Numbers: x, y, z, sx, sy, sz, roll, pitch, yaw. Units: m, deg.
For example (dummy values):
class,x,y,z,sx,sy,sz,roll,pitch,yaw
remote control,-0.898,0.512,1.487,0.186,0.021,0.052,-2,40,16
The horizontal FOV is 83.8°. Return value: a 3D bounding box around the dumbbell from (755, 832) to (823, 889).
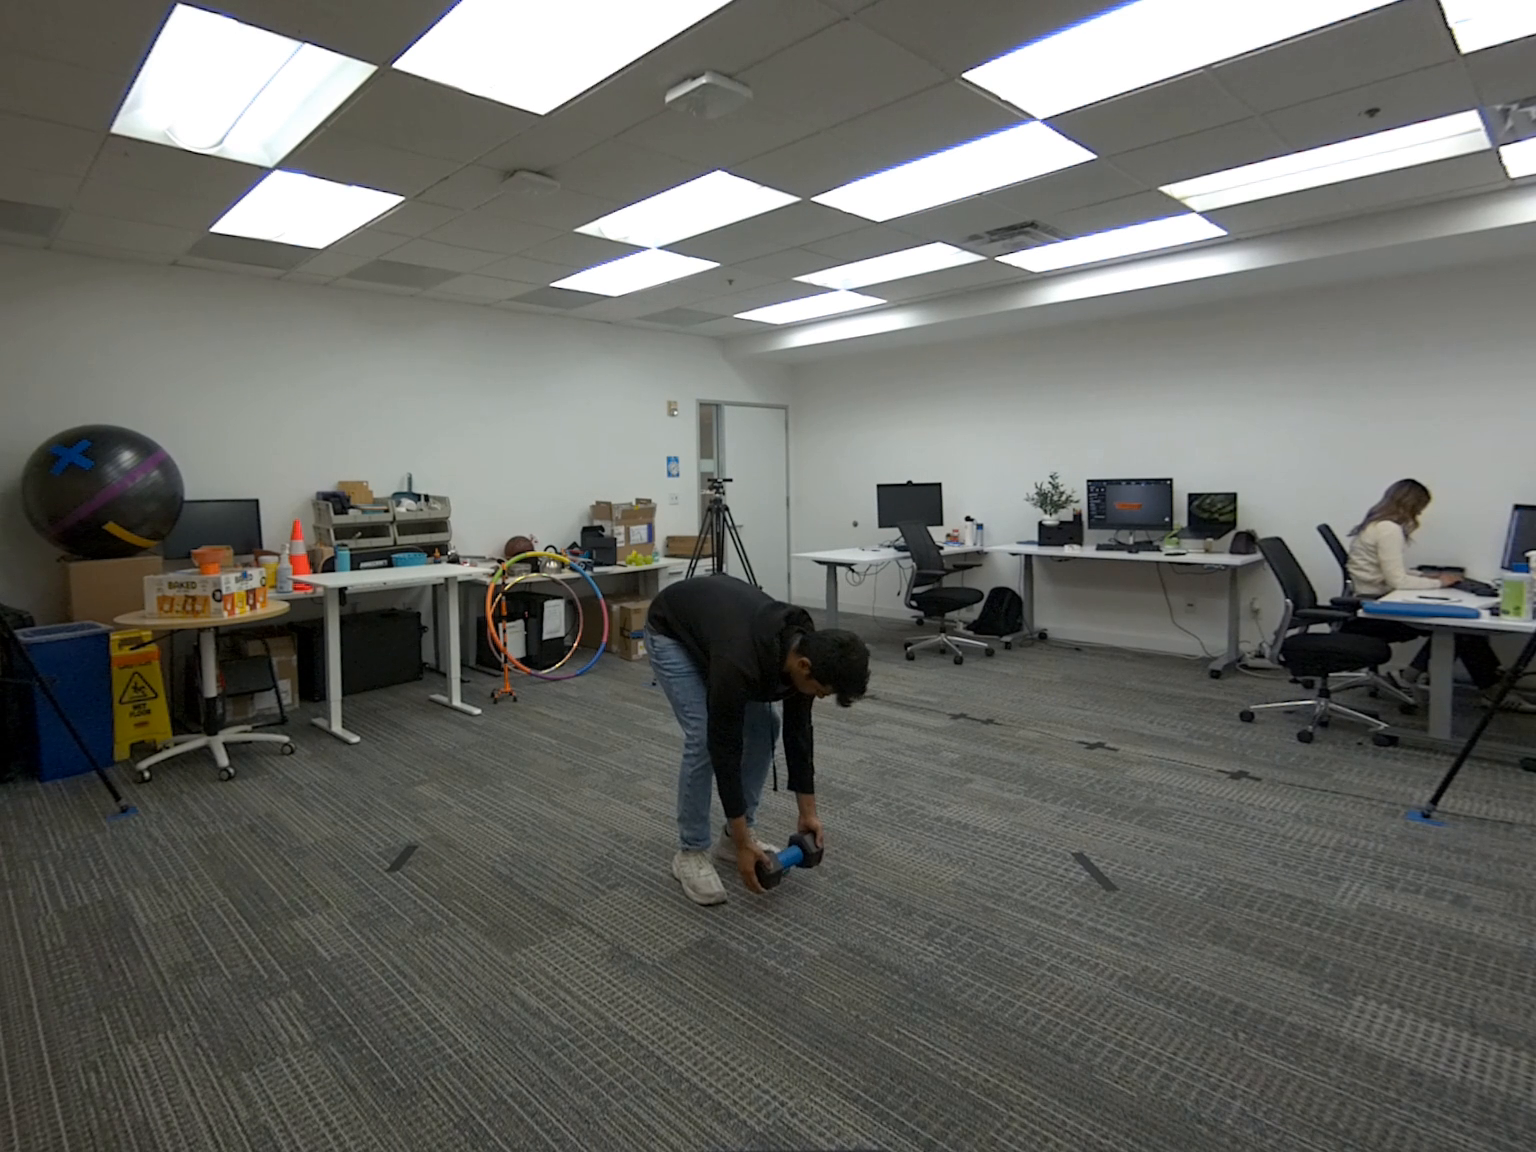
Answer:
class,x,y,z,sx,sy,sz,roll,pitch,yaw
dumbbell,0.047,0.931,2.836,0.285,0.122,0.113,-4,17,-45
